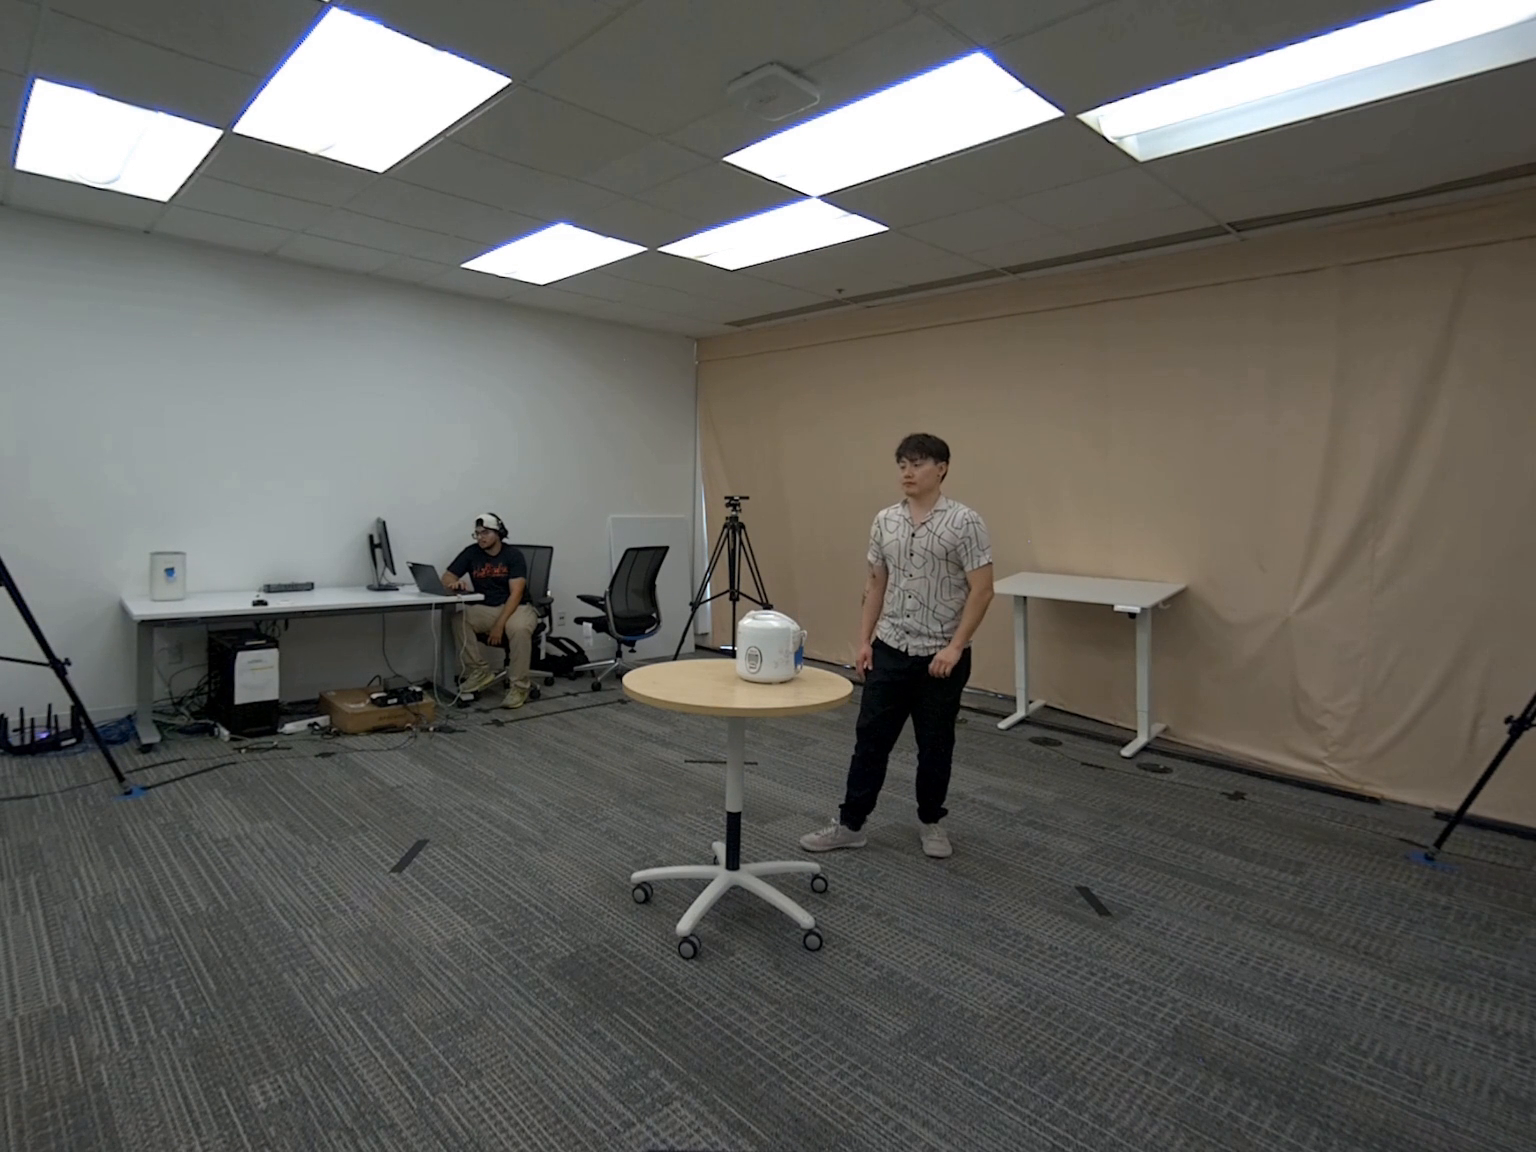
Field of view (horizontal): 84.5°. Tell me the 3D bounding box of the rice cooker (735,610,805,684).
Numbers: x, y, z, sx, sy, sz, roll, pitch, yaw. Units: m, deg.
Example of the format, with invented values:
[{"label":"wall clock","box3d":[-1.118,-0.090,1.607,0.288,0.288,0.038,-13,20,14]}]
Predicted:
[{"label":"rice cooker","box3d":[-0.008,0.234,2.840,0.225,0.232,0.213,3,3,26]}]
